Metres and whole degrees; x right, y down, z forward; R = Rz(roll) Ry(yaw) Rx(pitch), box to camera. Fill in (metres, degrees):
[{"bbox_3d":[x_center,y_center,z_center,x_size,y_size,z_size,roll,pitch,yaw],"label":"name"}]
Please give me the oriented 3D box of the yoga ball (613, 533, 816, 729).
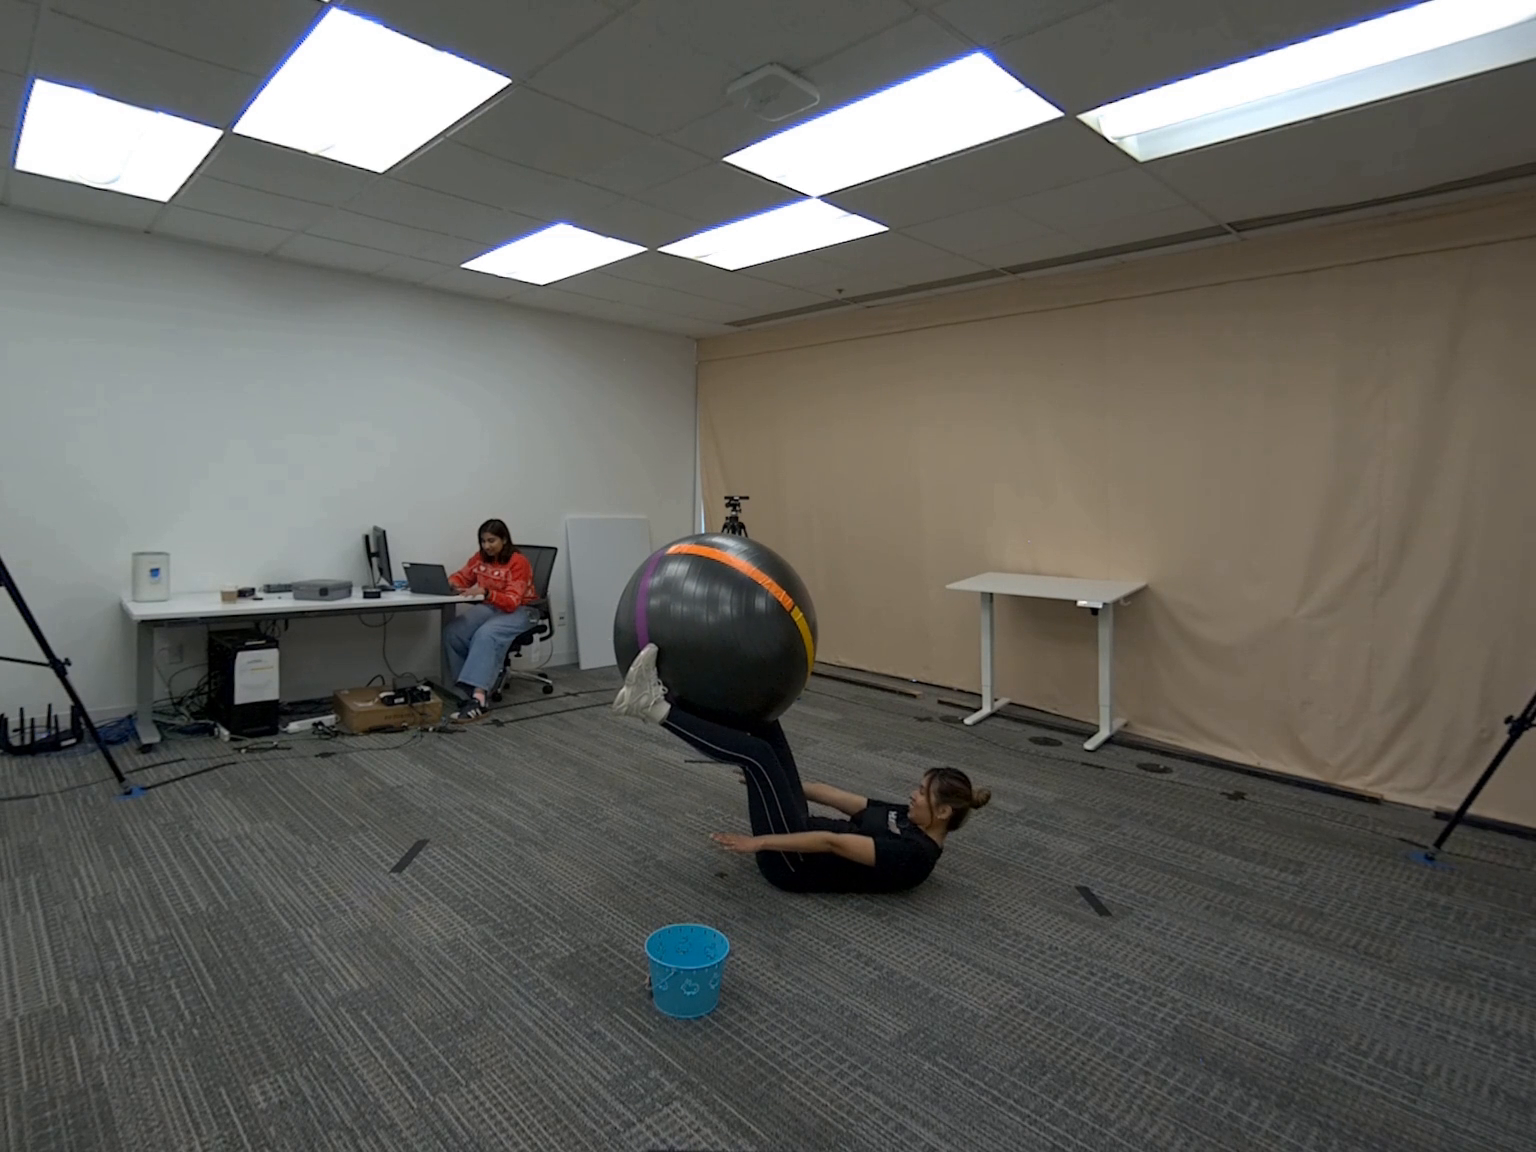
[{"bbox_3d":[-0.191,0.223,3.129,0.757,0.756,0.761,1,4,-1],"label":"yoga ball"}]
